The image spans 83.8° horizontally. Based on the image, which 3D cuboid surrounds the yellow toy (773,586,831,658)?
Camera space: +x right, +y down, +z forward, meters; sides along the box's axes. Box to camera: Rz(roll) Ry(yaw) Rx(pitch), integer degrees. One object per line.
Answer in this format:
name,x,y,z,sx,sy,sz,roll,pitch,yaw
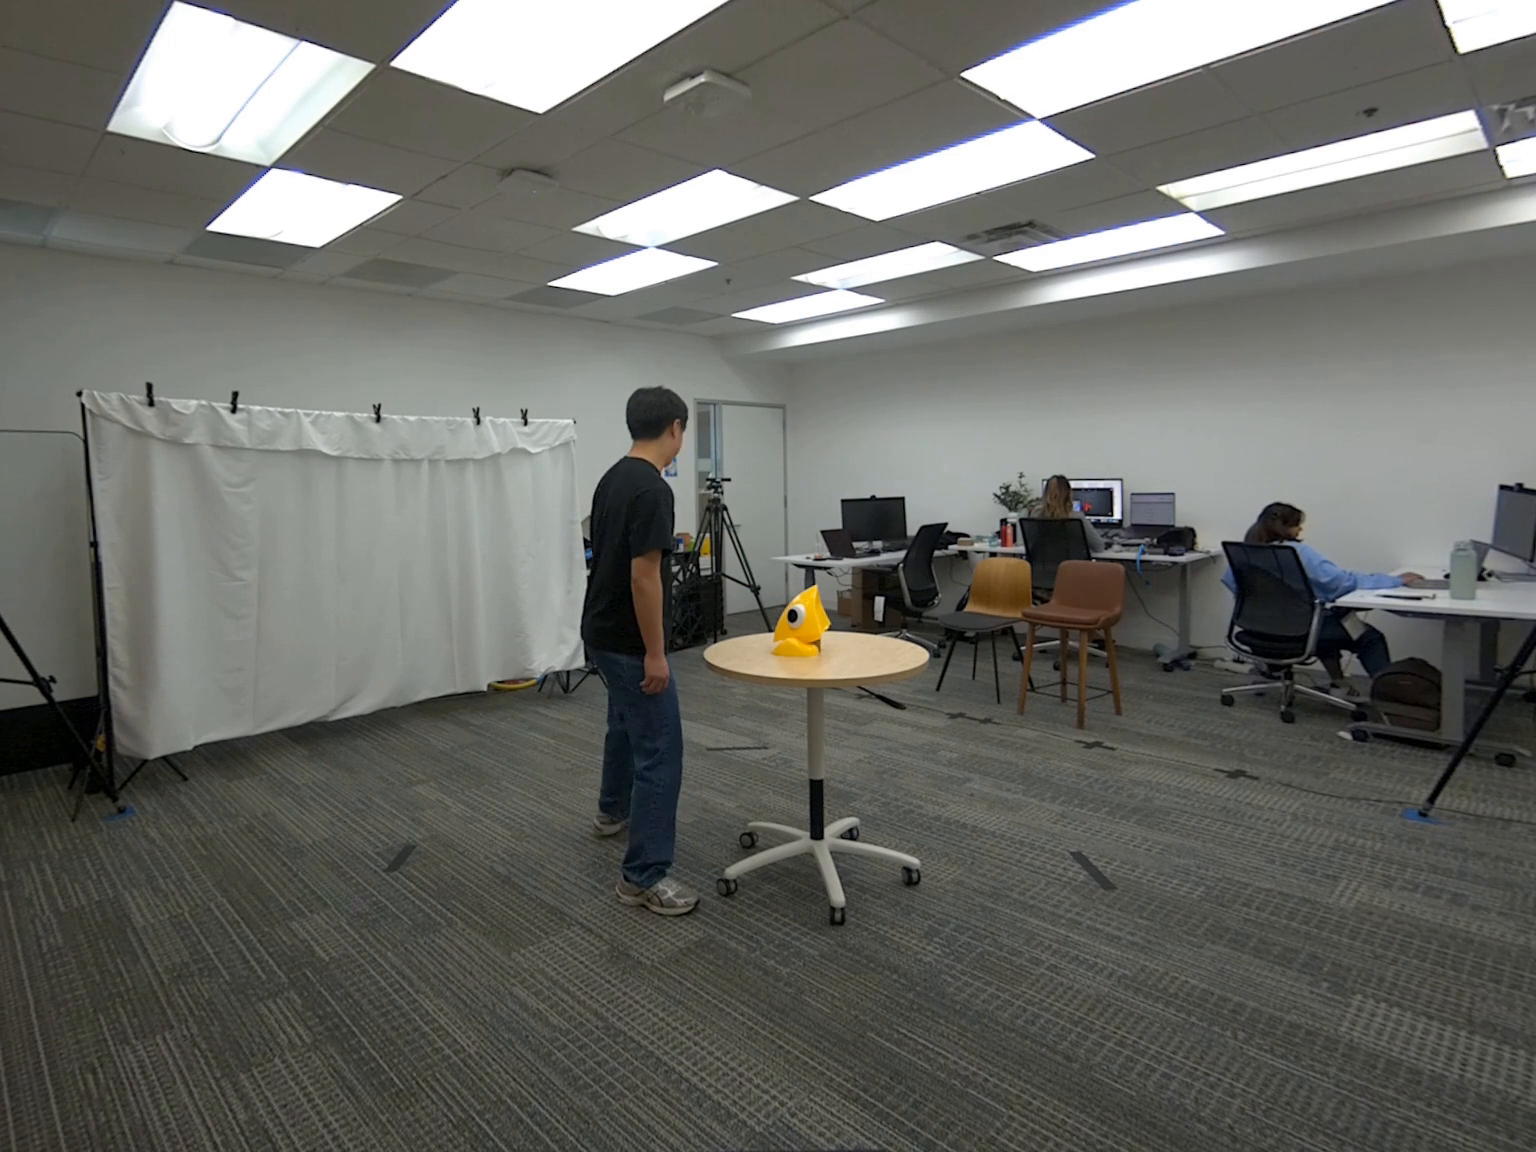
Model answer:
yellow toy,0.110,0.142,2.958,0.196,0.230,0.203,1,5,14
